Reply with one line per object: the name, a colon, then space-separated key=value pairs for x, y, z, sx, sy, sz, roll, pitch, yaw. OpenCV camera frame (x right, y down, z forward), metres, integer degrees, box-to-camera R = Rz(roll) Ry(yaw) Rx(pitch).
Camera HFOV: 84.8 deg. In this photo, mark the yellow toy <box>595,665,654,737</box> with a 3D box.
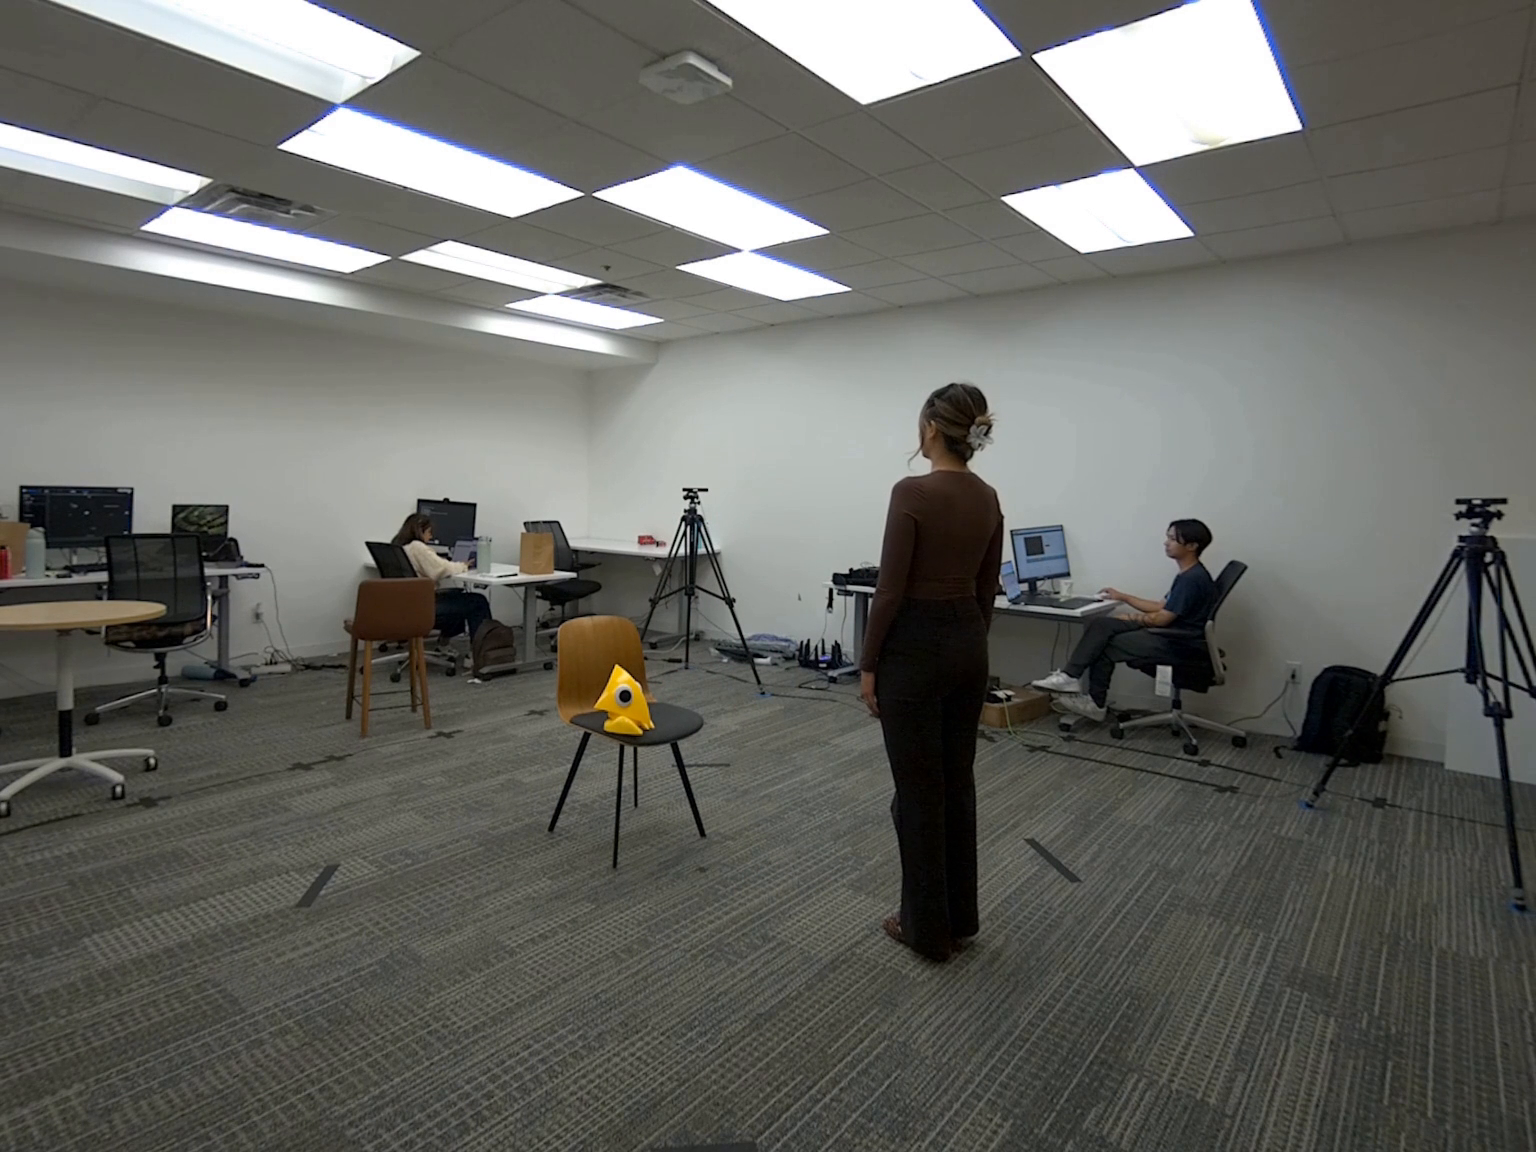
yellow toy: x=-0.535 y=0.457 z=3.186 sx=0.196 sy=0.231 sz=0.201 roll=4 pitch=0 yaw=15
